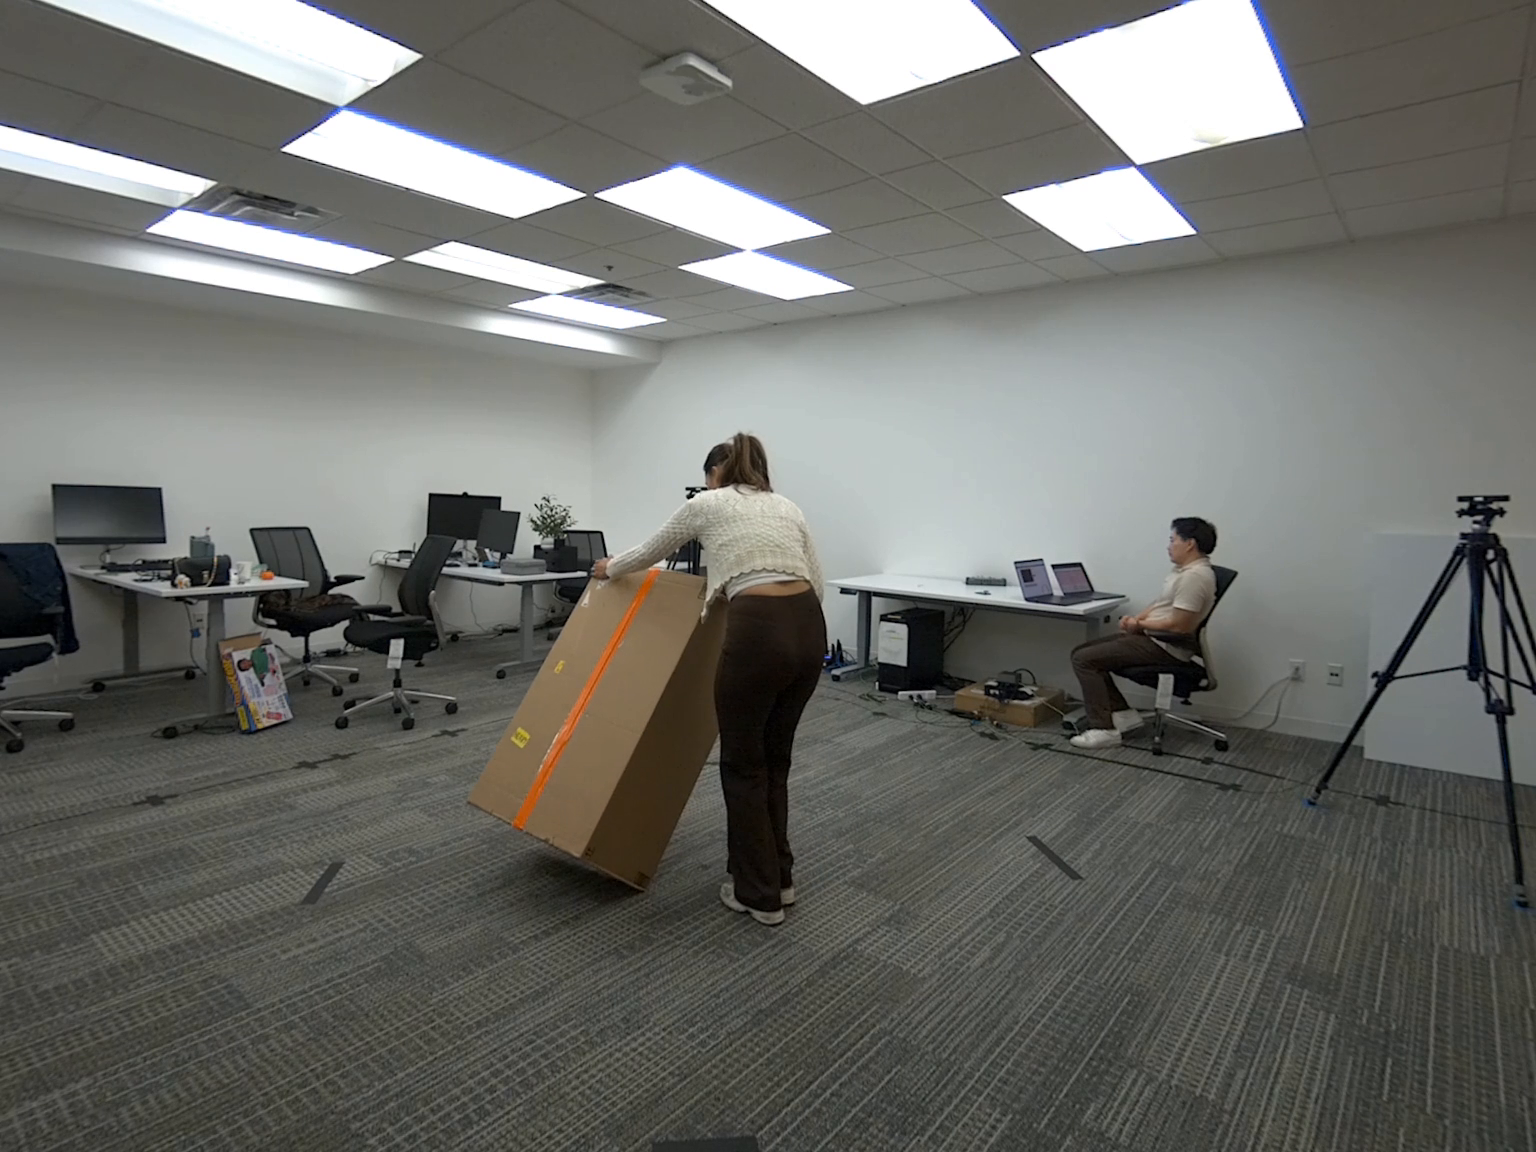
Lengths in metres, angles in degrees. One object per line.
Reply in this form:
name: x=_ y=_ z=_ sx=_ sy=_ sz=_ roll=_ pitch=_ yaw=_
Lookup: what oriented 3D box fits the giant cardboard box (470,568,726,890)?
giant cardboard box: x=-0.545 y=0.508 z=3.141 sx=0.597 sy=1.034 sz=0.408 roll=9 pitch=-27 yaw=34
